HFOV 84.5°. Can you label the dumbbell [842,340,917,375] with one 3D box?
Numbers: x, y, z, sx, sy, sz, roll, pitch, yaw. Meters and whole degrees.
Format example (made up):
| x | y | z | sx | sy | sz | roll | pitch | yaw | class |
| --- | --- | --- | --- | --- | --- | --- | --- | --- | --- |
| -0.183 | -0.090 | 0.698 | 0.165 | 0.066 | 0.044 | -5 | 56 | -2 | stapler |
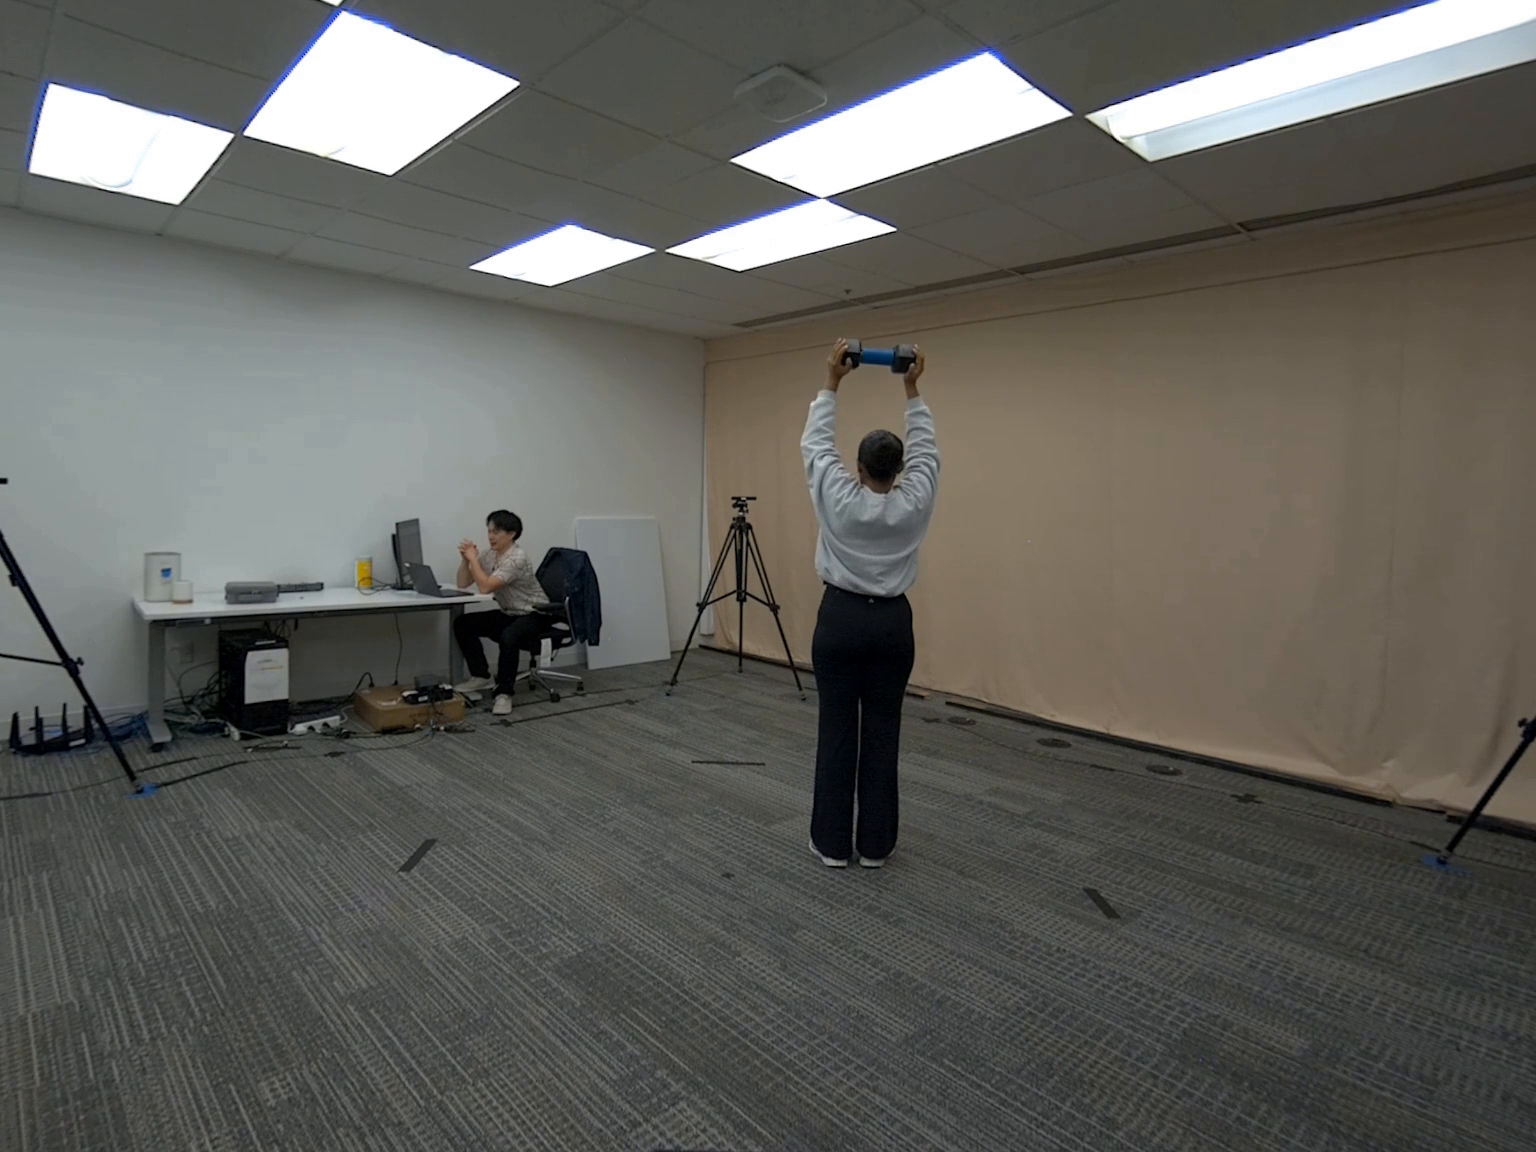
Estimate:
| x | y | z | sx | sy | sz | roll | pitch | yaw | class |
| --- | --- | --- | --- | --- | --- | --- | --- | --- | --- |
| 0.404 | -0.837 | 3.236 | 0.294 | 0.125 | 0.107 | 5 | -28 | 1 | dumbbell |
